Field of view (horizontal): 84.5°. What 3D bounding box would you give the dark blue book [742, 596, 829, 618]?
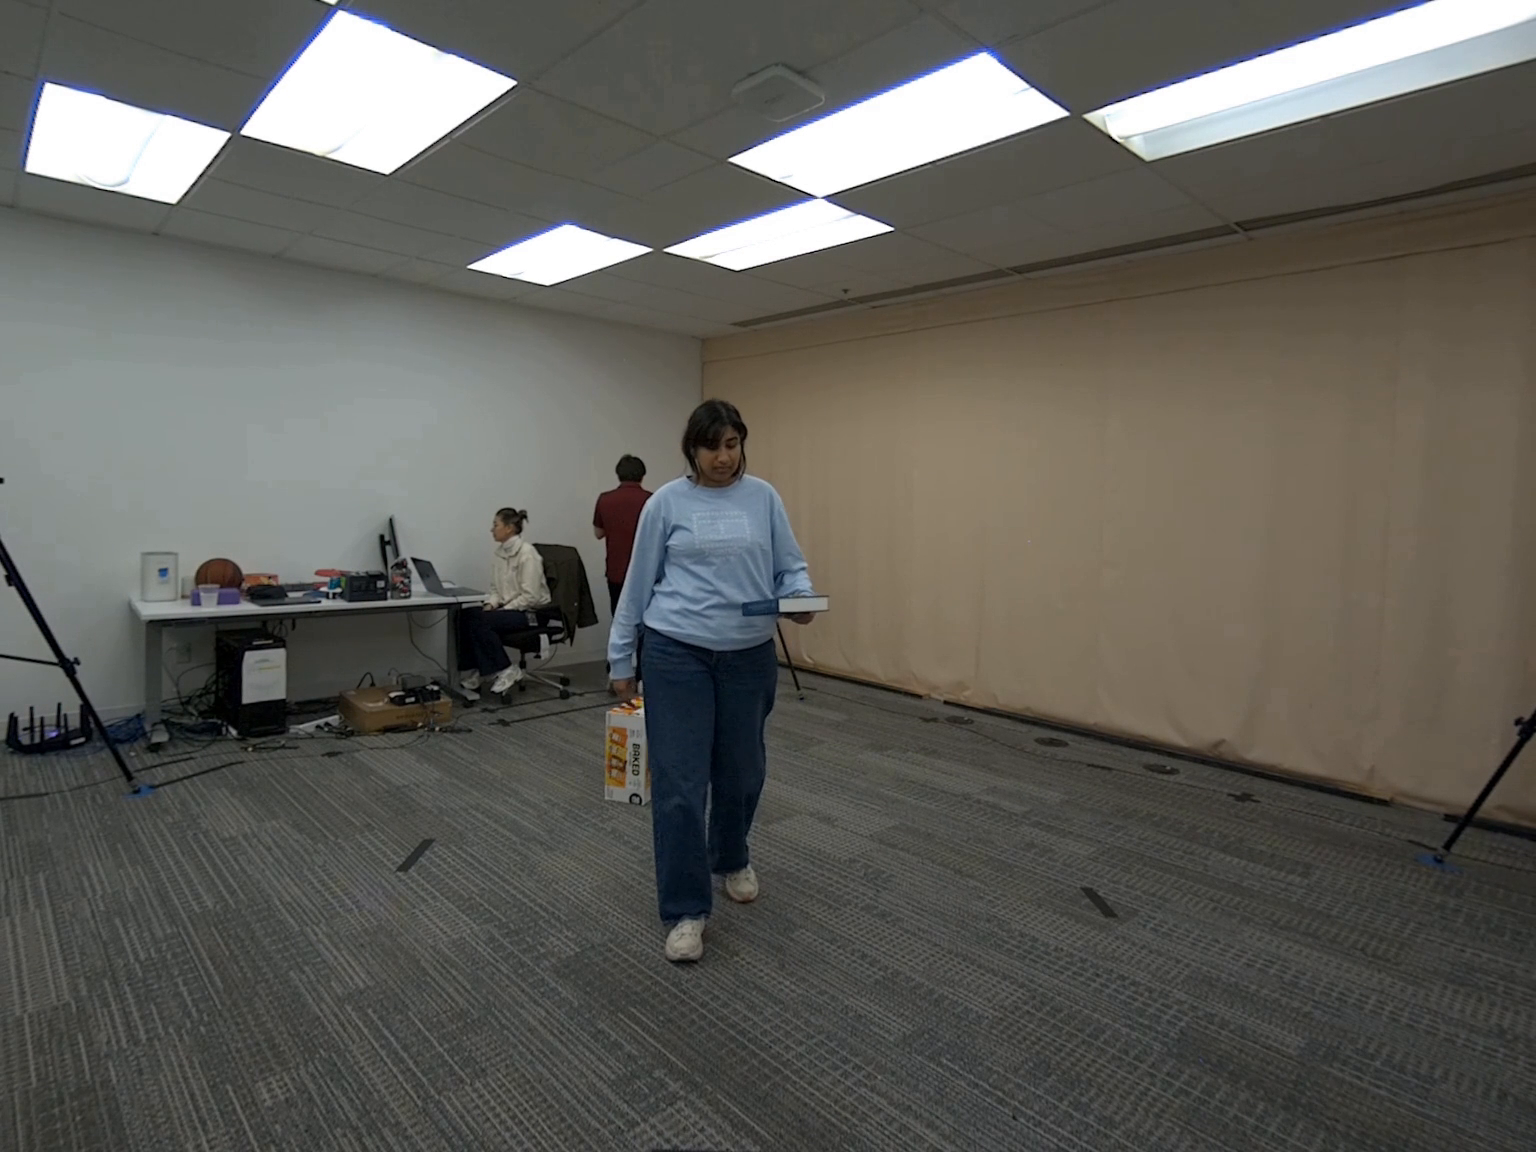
[{"bbox_3d":[0.032,0.089,2.429,0.161,0.045,0.247,-4,-4,-18],"label":"dark blue book"}]
